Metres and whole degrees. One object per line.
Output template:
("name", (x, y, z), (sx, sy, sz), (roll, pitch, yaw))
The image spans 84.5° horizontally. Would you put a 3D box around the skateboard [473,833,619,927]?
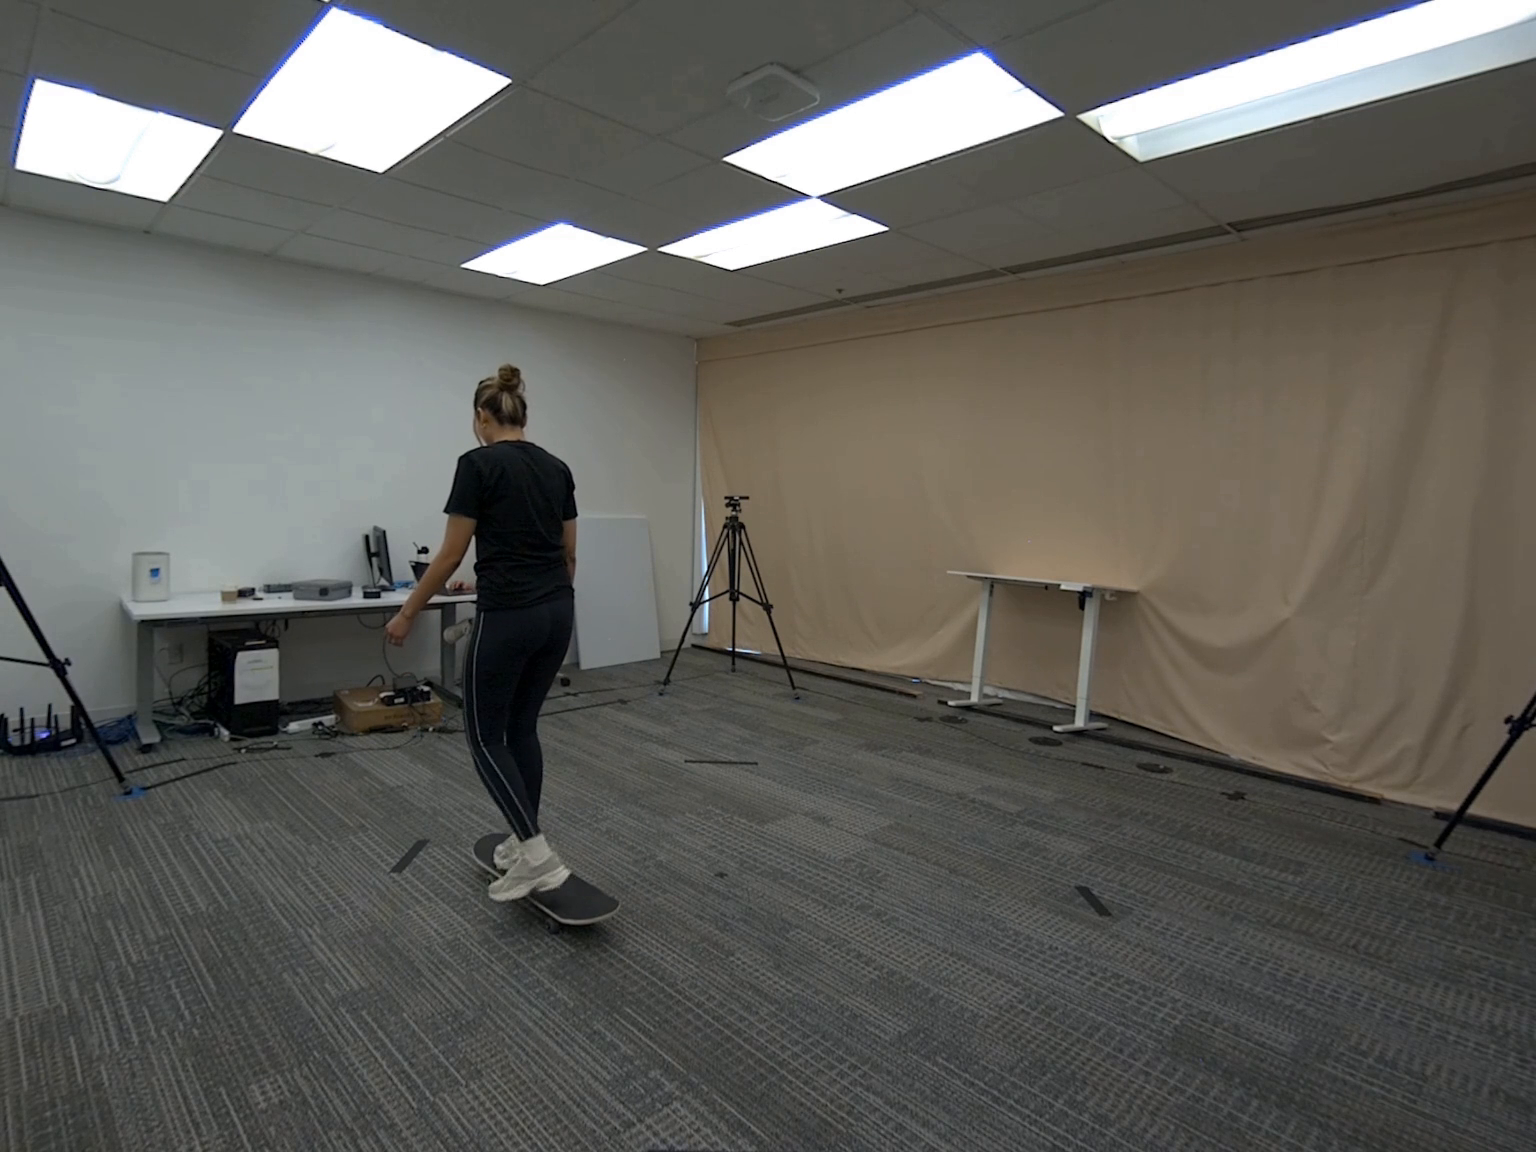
("skateboard", (-0.779, 1.062, 2.862), (0.189, 0.110, 0.806), (-8, 10, -43))
